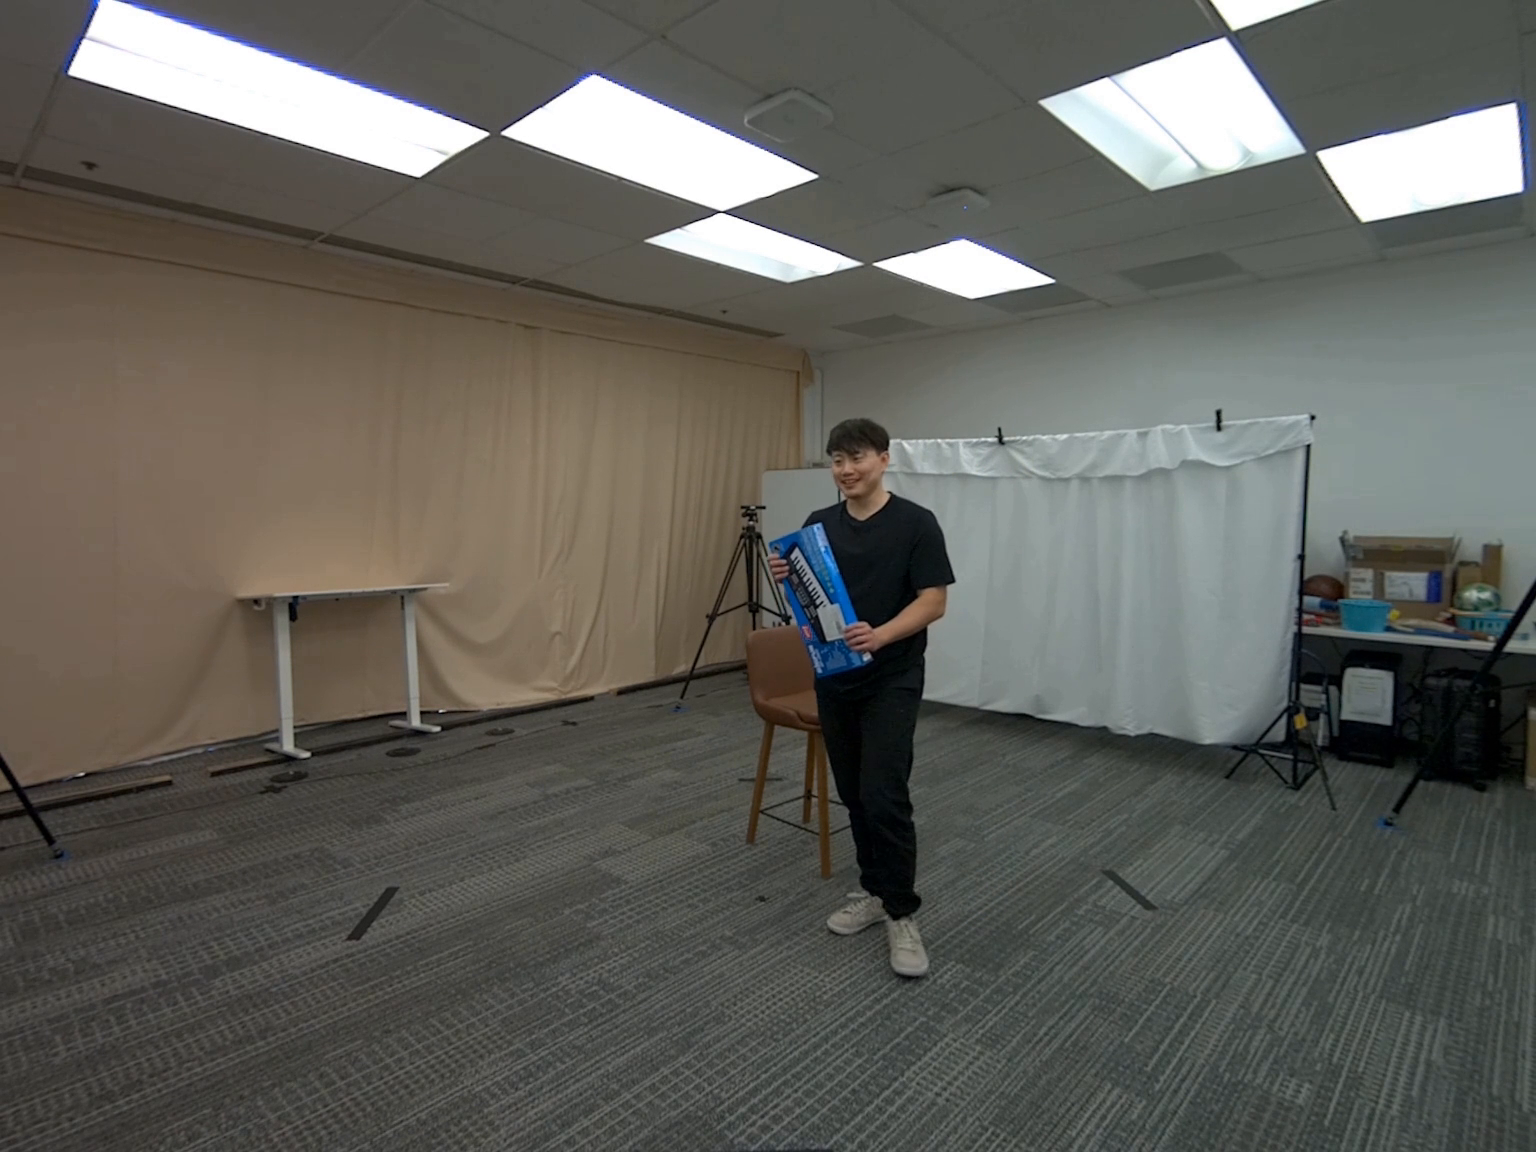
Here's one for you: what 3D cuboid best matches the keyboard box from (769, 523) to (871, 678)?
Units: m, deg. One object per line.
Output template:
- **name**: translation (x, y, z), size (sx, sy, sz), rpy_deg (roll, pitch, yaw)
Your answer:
- **keyboard box**: translation (0.164, 0.077, 2.536), size (0.180, 0.438, 0.057), rpy_deg (-22, -5, 37)
